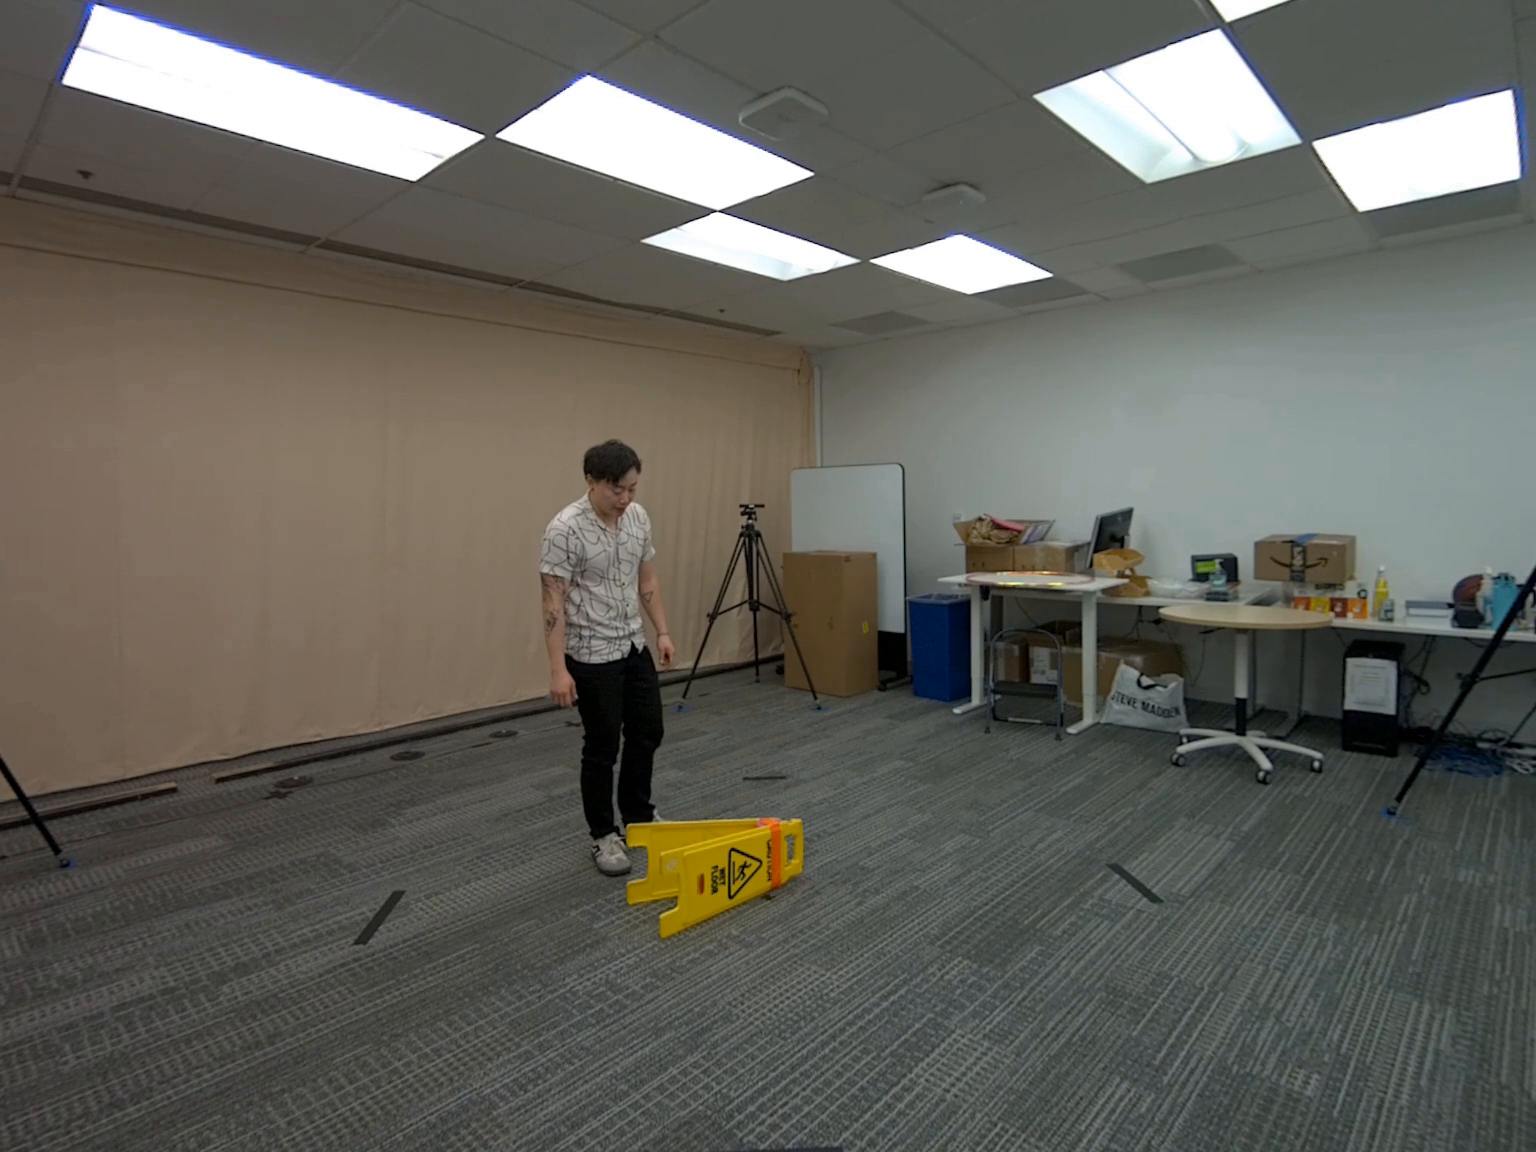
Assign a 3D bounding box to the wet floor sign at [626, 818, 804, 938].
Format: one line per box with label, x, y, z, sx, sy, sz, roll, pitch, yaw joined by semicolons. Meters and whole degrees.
wet floor sign;-0.146;1.011;2.984;0.629;0.282;0.298;-2;4;-30
